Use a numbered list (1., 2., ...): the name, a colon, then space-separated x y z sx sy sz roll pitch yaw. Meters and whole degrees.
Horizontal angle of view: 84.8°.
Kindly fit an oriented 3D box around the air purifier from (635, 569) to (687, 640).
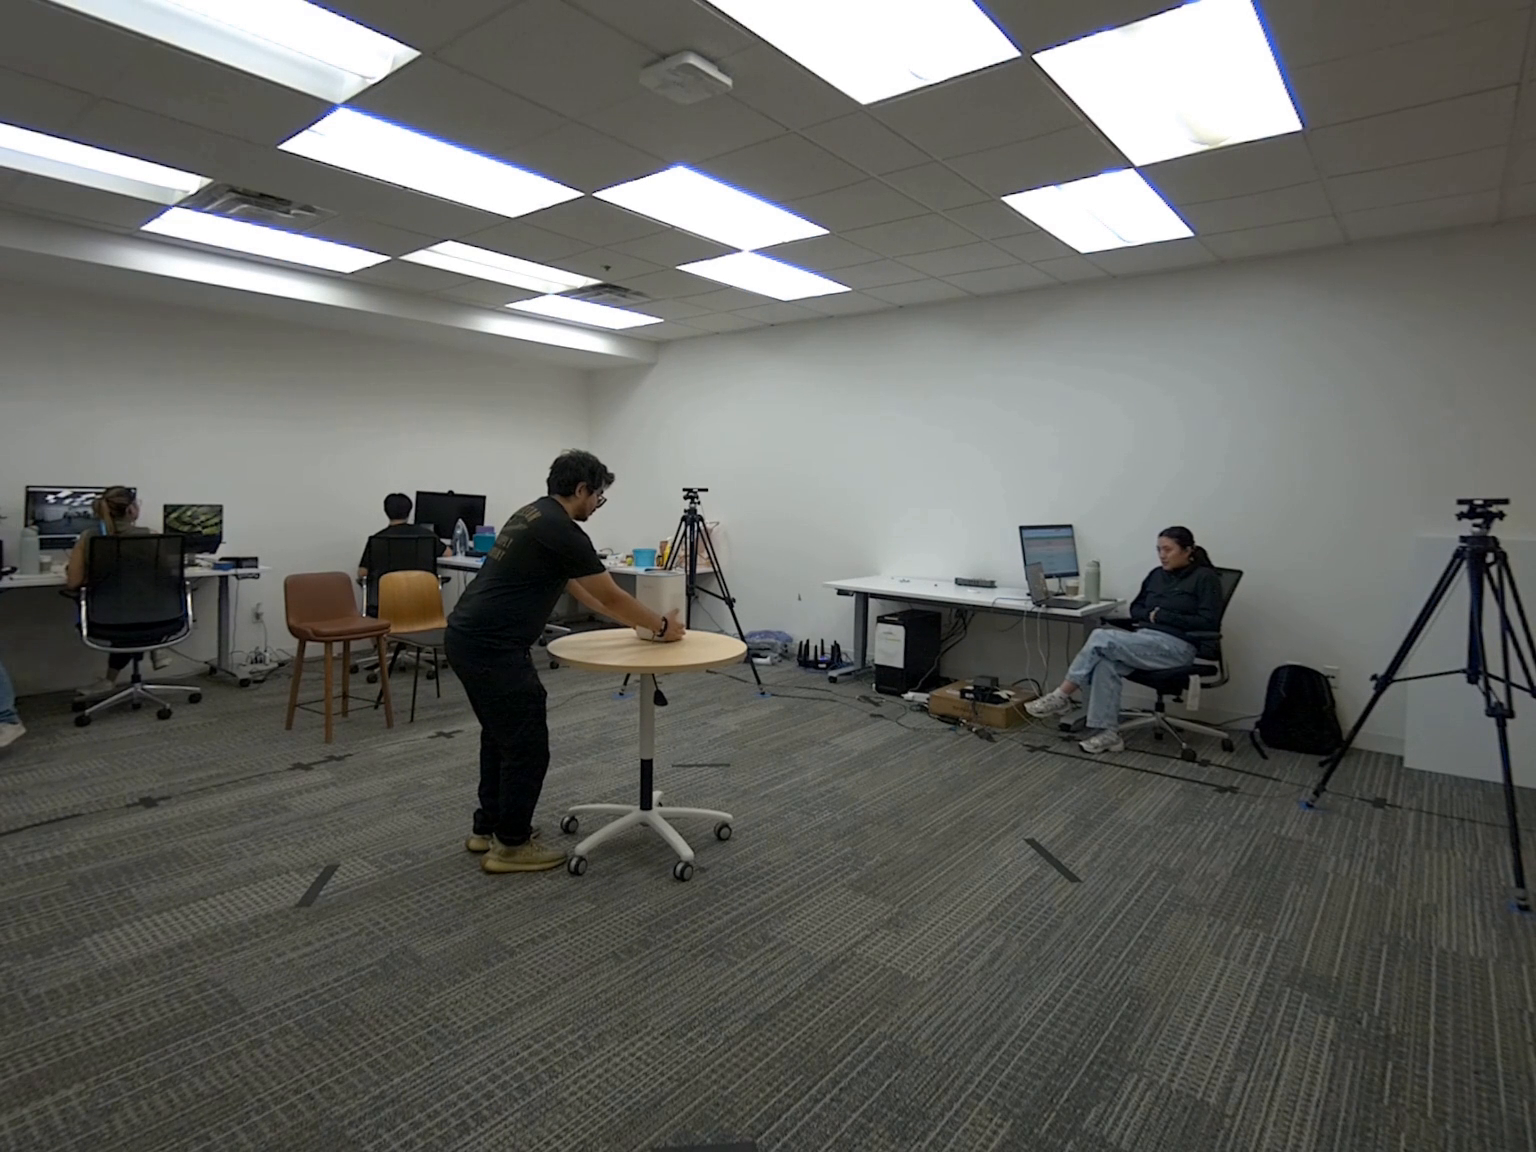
1. air purifier: -0.444 0.118 3.426 0.176 0.265 0.167 2 3 29
